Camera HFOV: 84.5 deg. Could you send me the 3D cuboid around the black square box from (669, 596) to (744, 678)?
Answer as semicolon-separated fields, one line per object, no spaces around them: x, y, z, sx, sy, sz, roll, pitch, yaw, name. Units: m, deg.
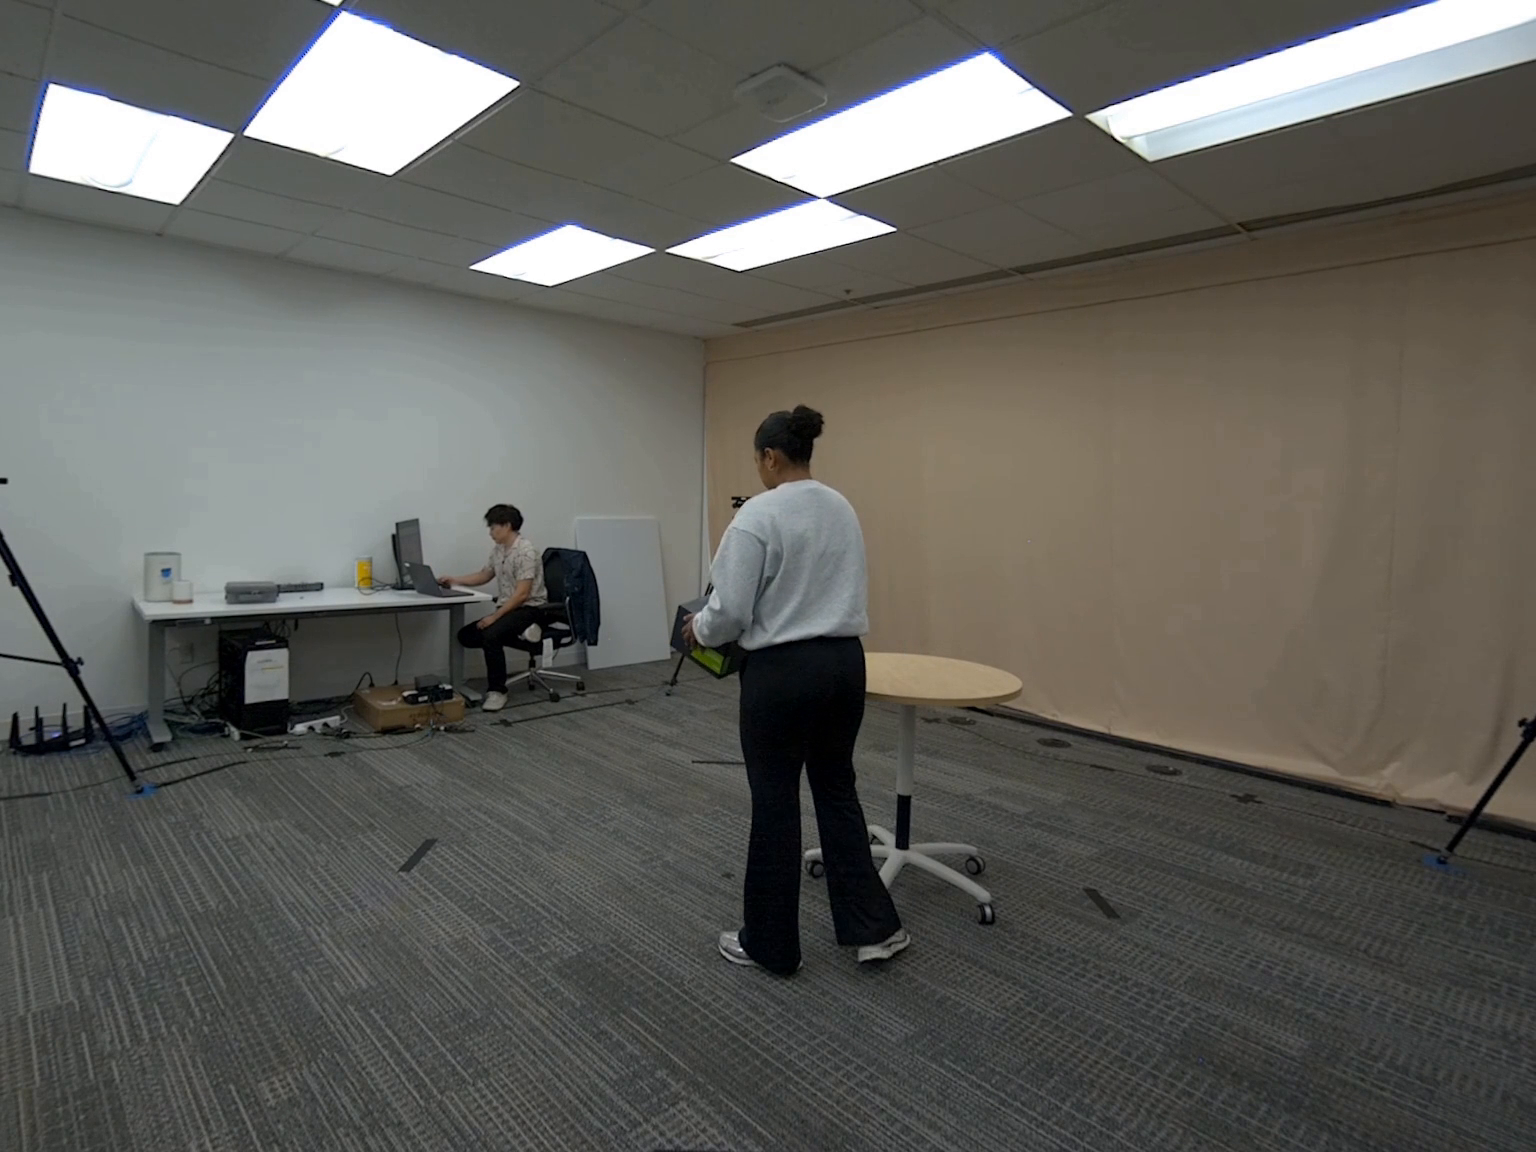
-0.153;0.182;2.752;0.234;0.154;0.213;29;28;31;black square box
